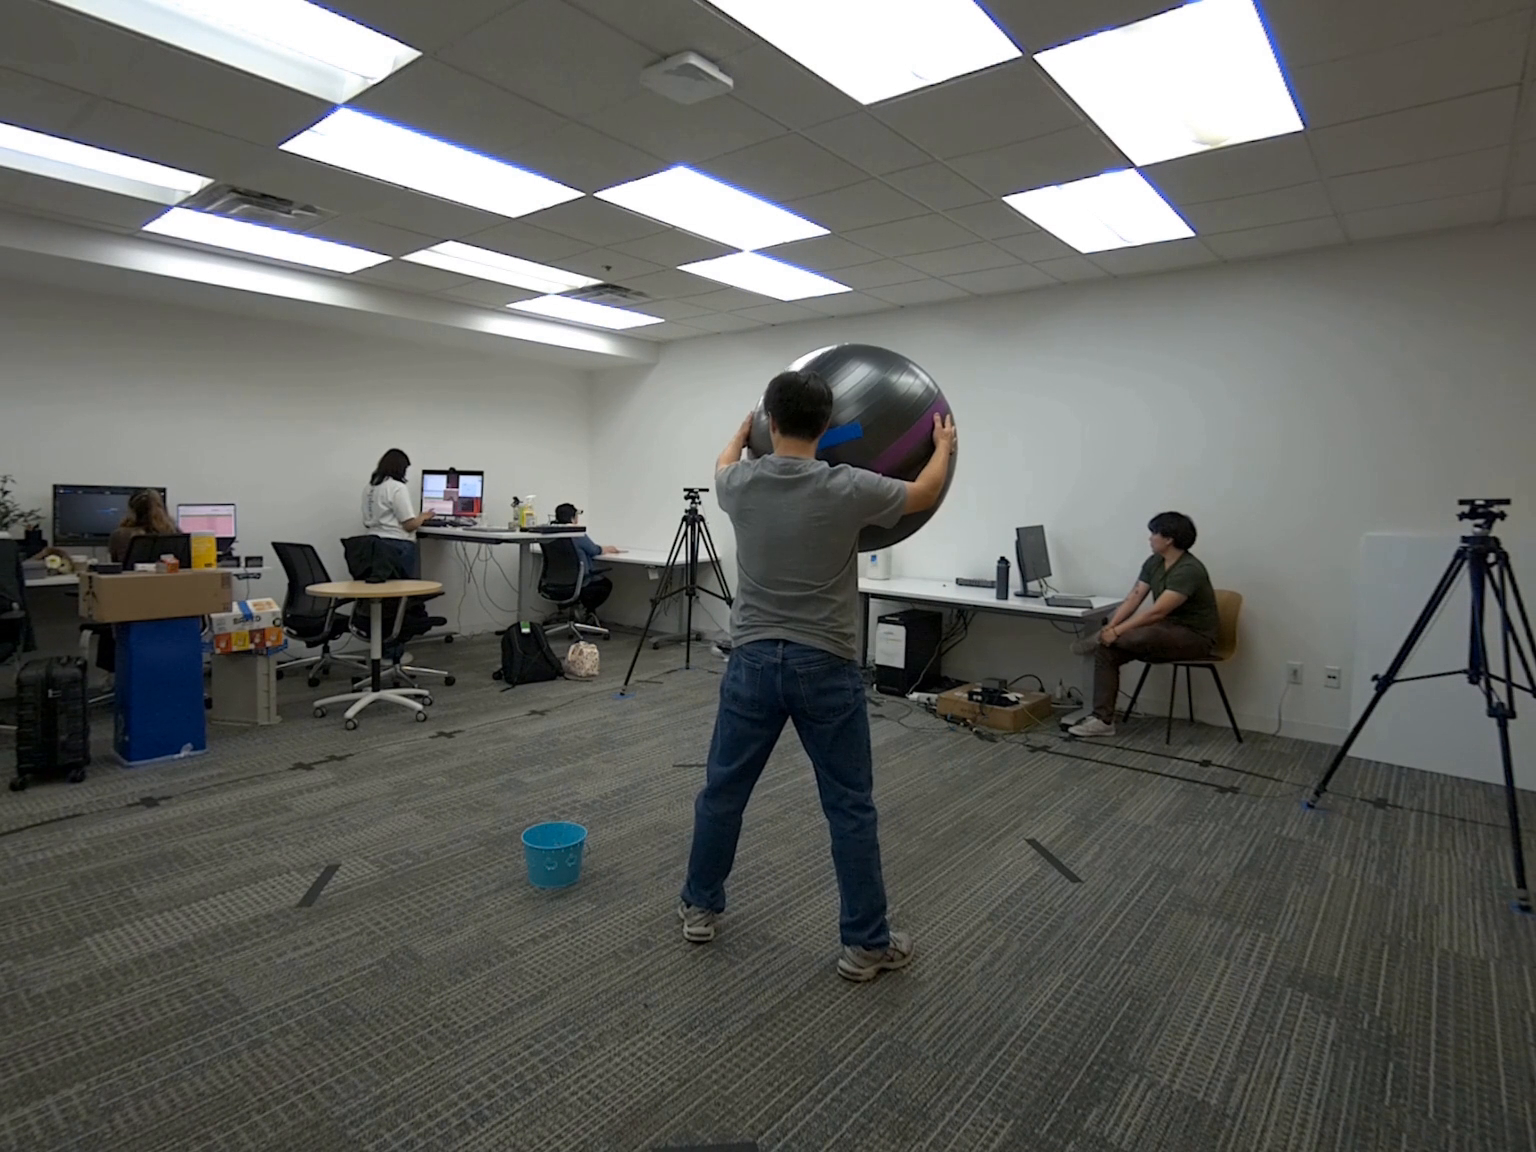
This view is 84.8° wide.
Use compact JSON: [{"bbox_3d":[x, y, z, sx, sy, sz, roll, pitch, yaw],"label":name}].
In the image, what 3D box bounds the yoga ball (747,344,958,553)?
[{"bbox_3d":[0.296,-0.444,3.113,0.757,0.755,0.762,1,4,-2],"label":"yoga ball"}]
